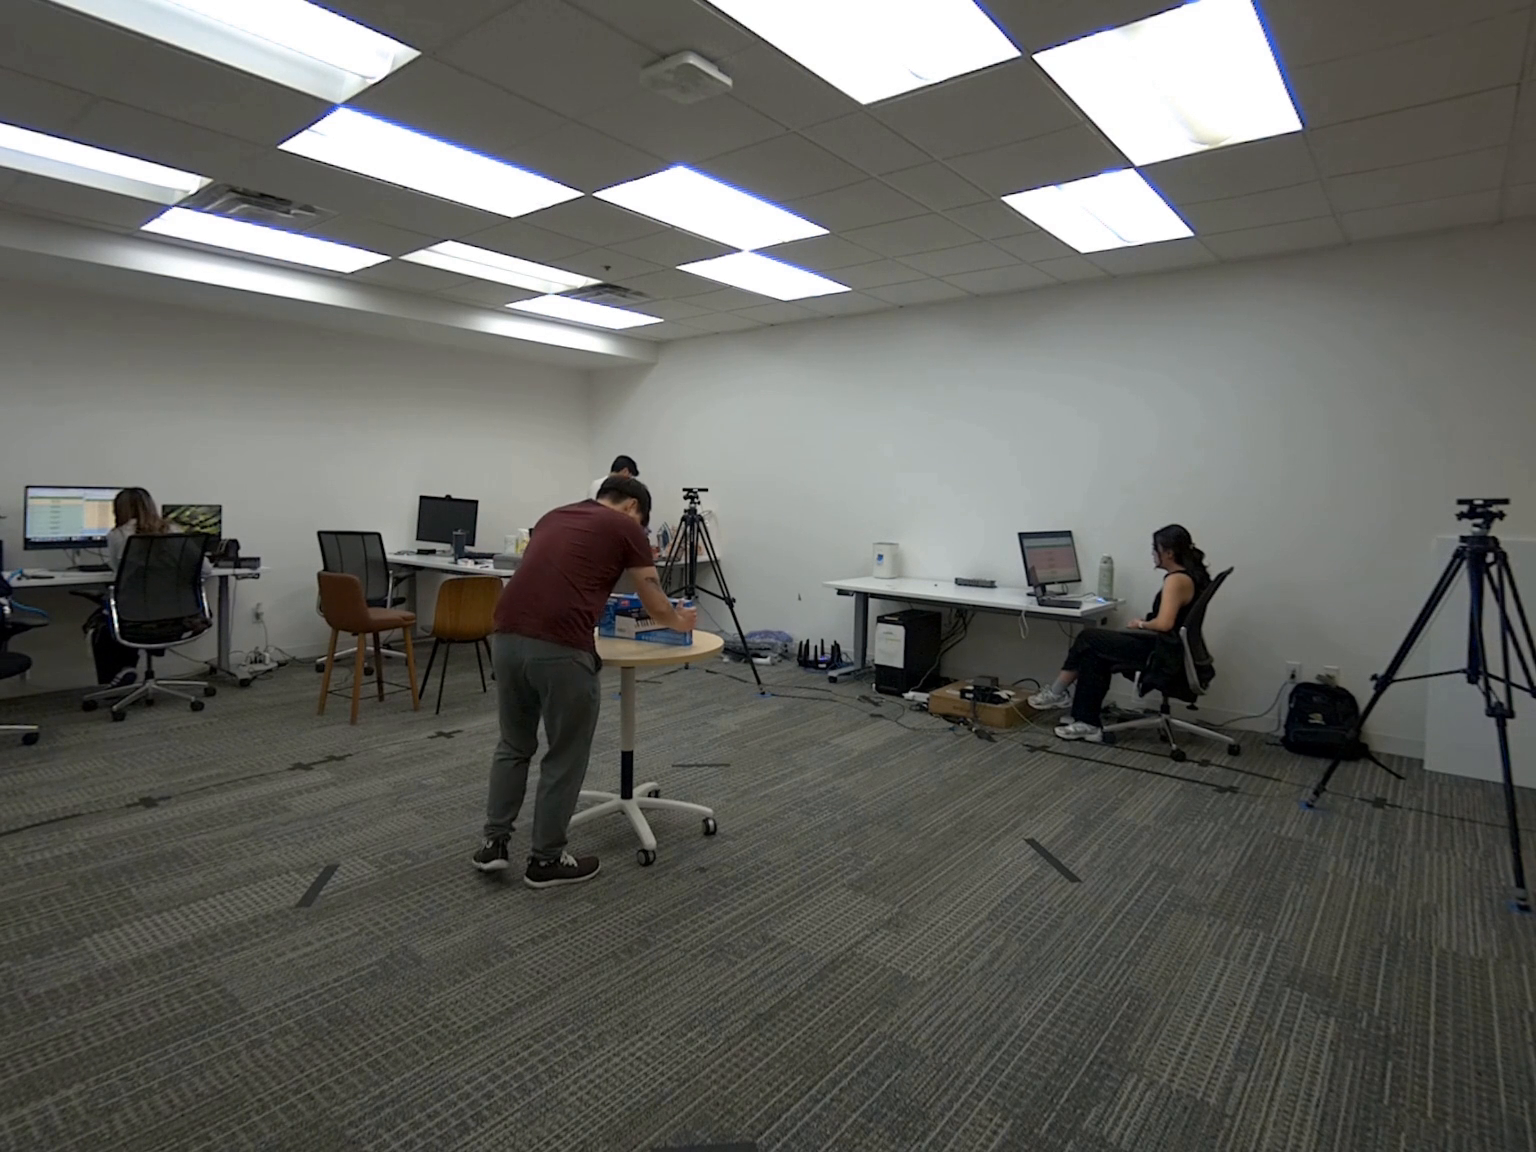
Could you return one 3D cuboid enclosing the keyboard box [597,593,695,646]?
[{"bbox_3d":[-0.514,0.174,3.435,0.449,0.175,0.057,4,3,29],"label":"keyboard box"}]
